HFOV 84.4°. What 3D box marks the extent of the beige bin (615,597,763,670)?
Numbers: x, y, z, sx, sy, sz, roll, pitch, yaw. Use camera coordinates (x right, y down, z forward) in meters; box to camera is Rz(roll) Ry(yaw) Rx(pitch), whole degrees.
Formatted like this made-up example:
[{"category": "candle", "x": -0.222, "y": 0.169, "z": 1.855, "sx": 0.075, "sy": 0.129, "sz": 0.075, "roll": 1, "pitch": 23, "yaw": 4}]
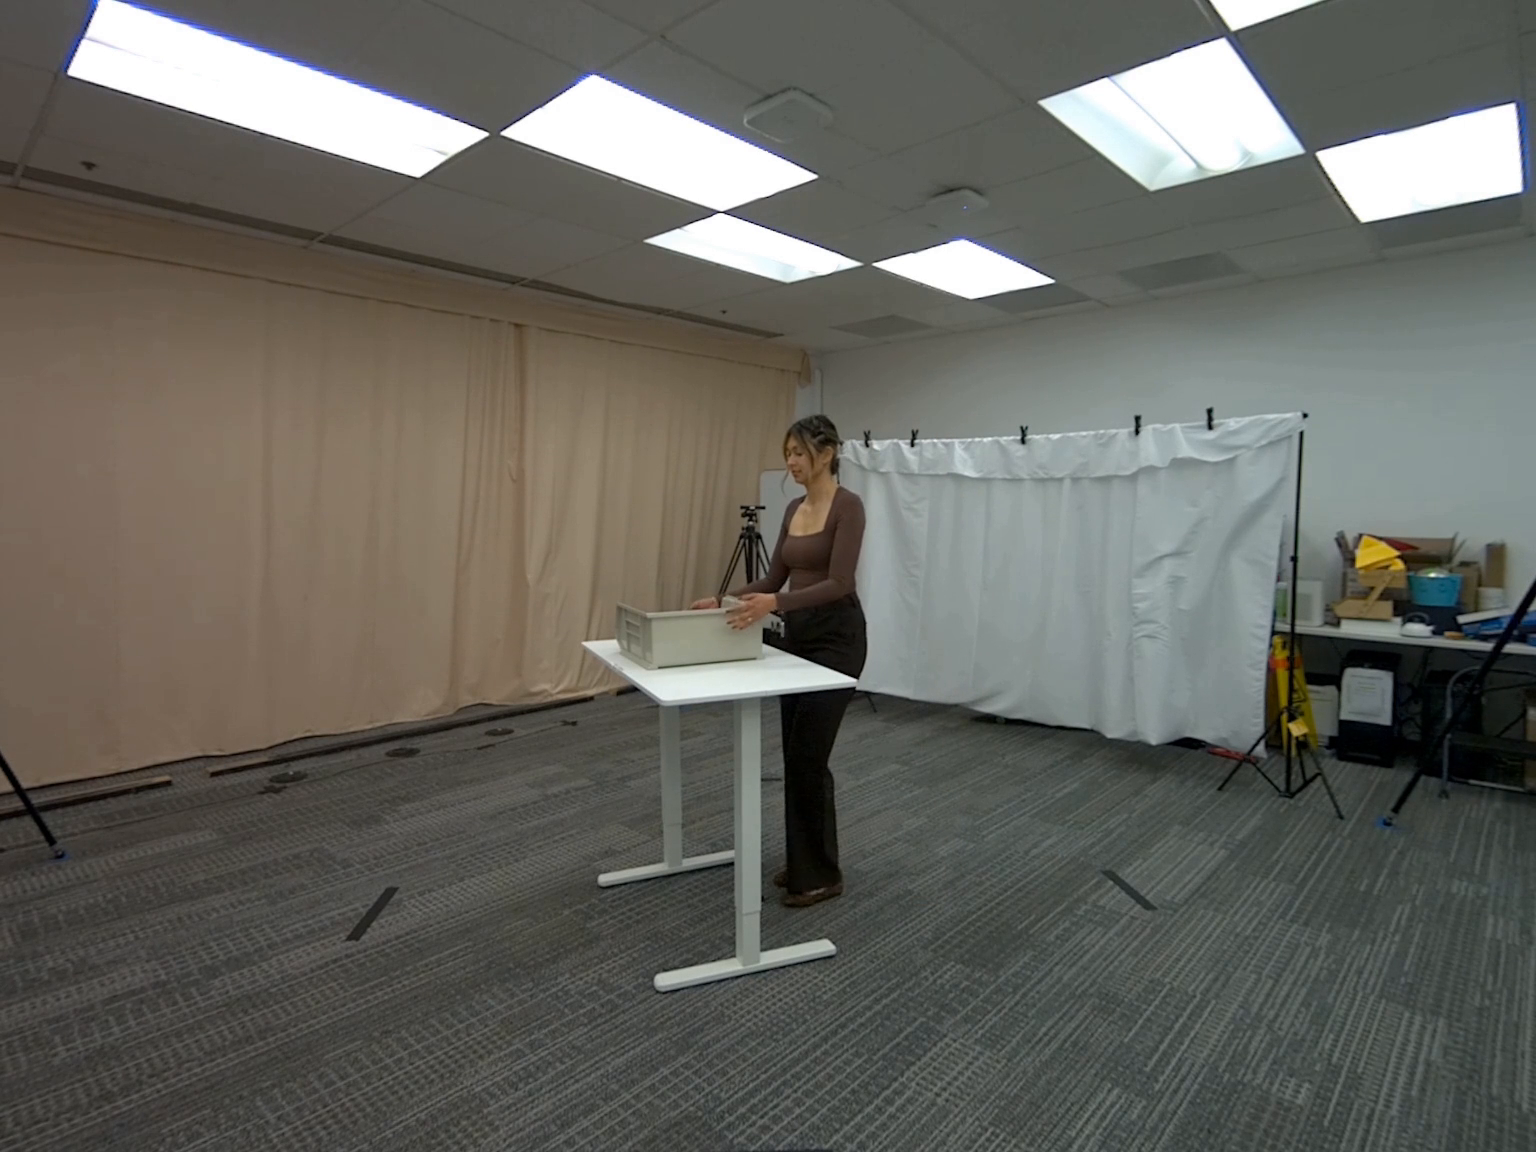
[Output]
[{"category": "beige bin", "x": -0.269, "y": 0.182, "z": 2.862, "sx": 0.412, "sy": 0.188, "sz": 0.388, "roll": -2, "pitch": 6, "yaw": -26}]
